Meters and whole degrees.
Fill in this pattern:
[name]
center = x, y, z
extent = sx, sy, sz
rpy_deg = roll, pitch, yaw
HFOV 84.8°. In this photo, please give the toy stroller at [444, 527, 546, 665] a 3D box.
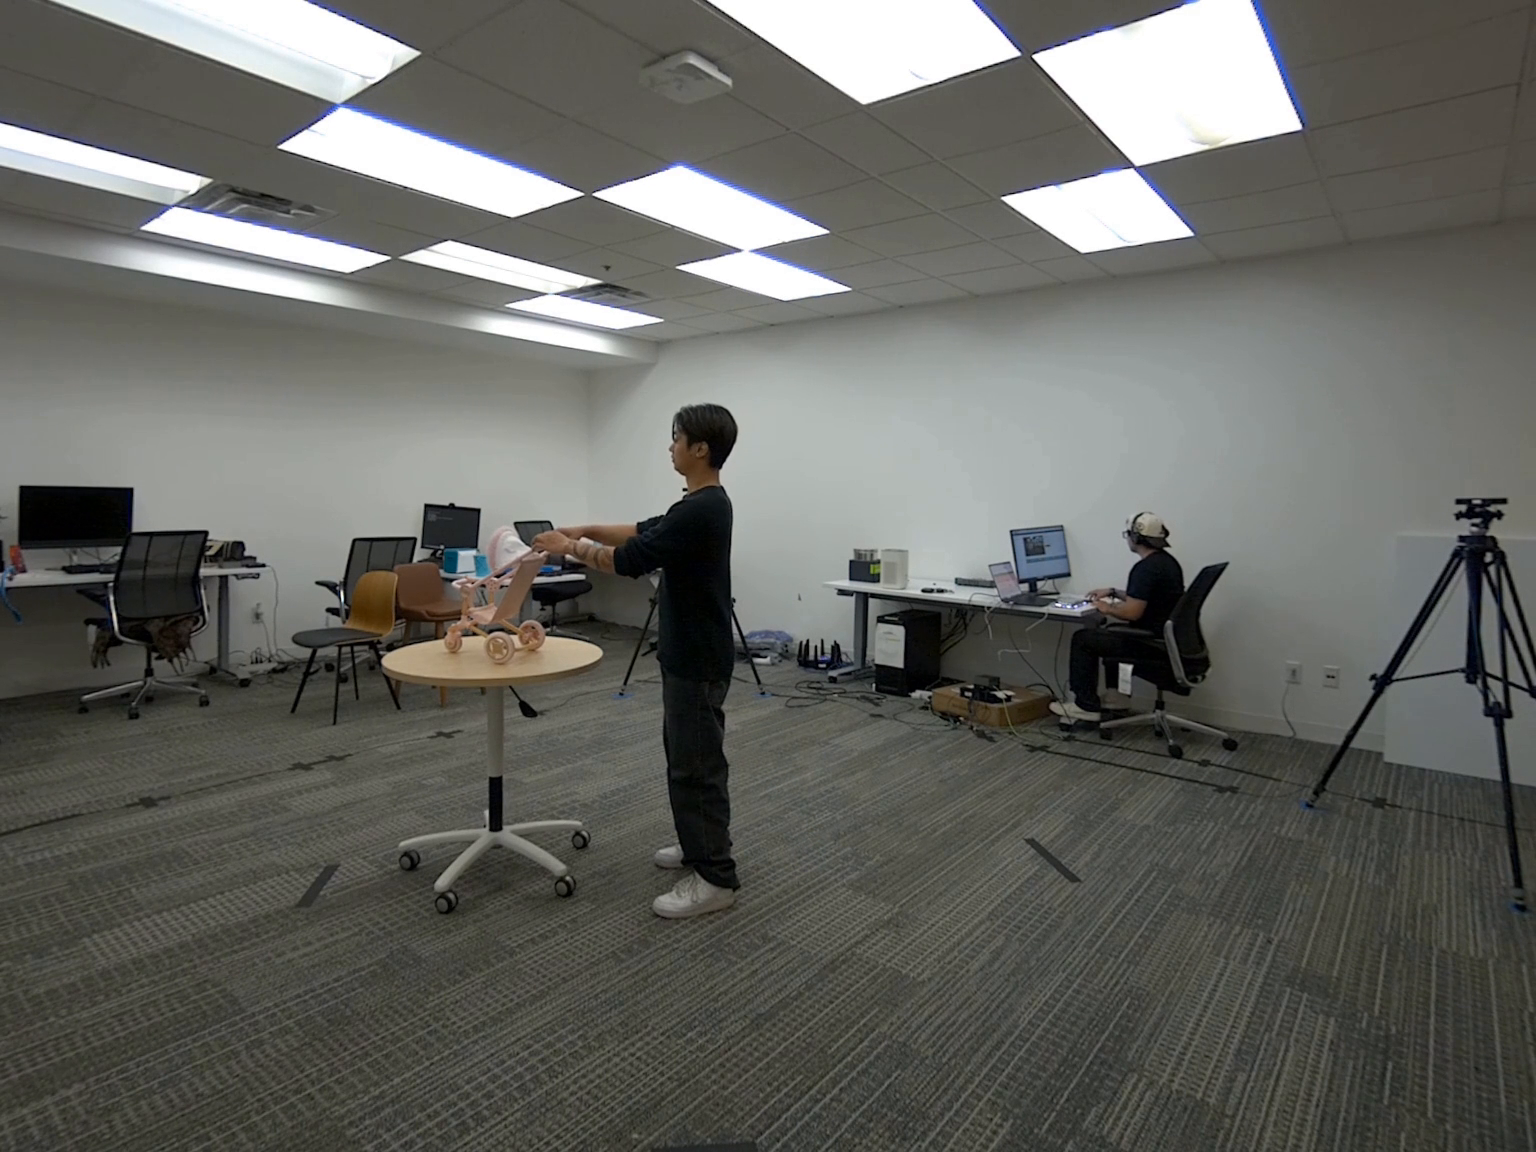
[toy stroller]
center = -0.972, 0.063, 3.026
extent = 0.349, 0.532, 0.277
rpy_deg = 17, 8, 15
